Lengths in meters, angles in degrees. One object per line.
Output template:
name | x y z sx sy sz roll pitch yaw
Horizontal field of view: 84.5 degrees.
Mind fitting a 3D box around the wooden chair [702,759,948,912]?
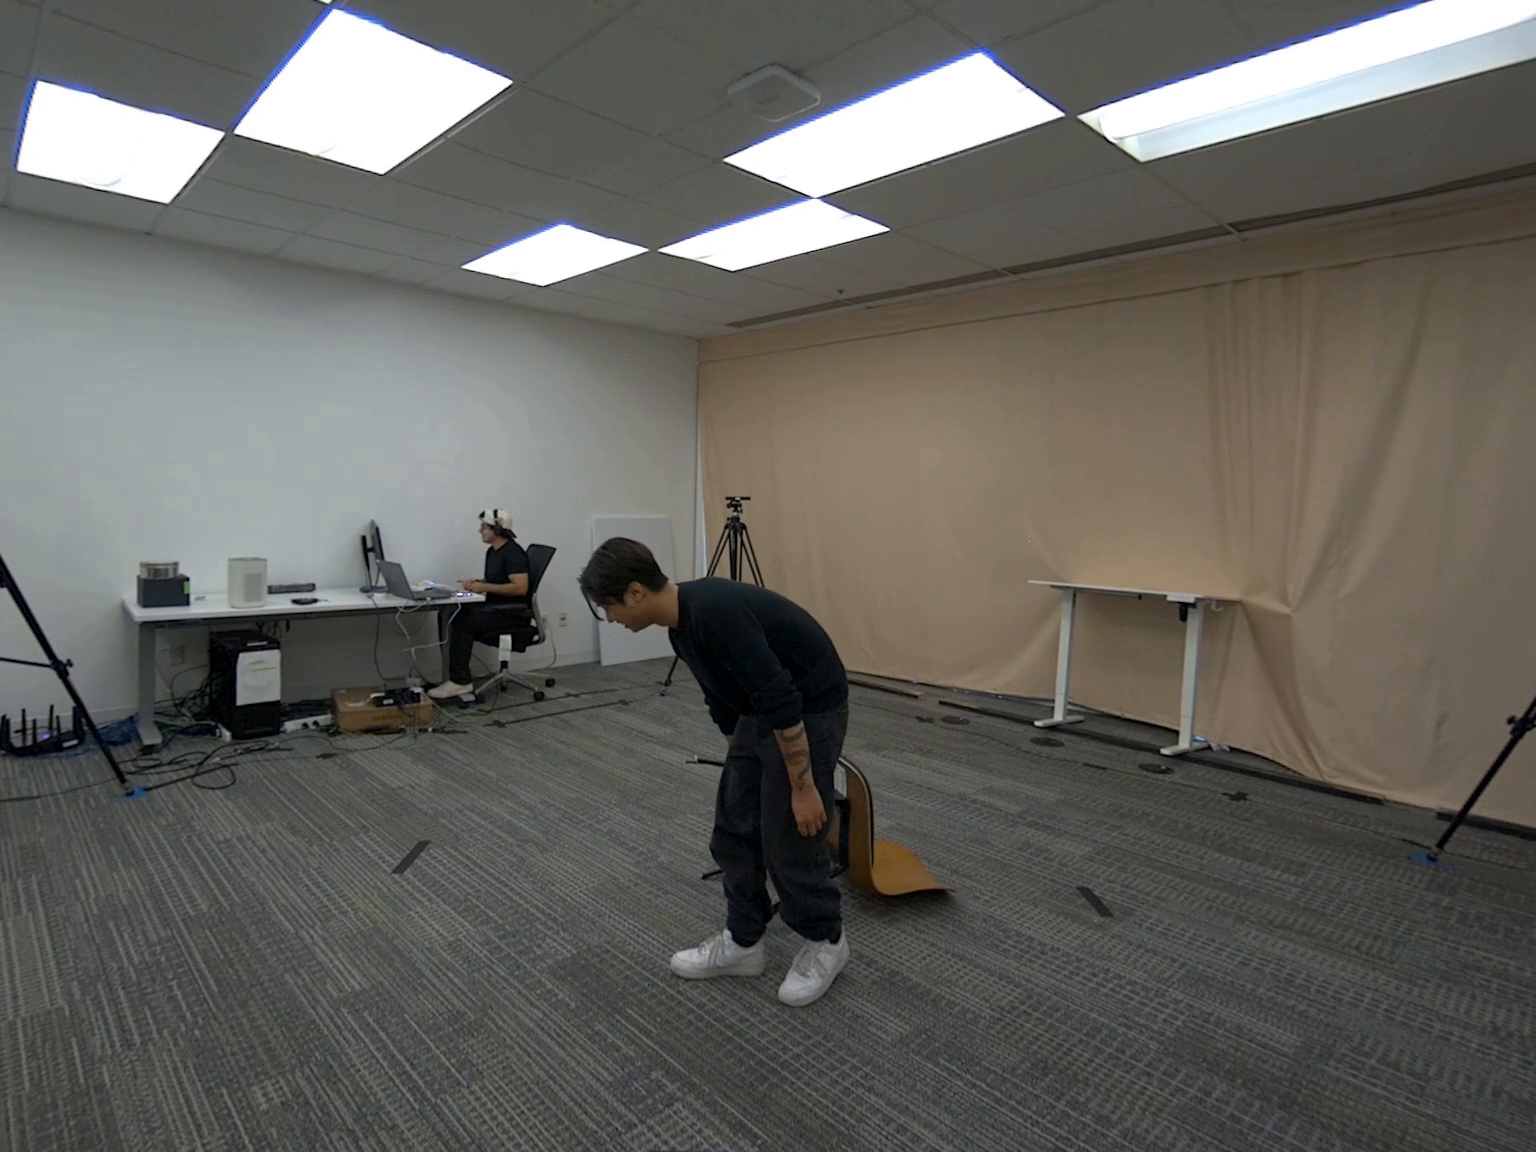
wooden chair | 0.217 0.870 2.964 0.866 0.522 0.485 1 4 -16
